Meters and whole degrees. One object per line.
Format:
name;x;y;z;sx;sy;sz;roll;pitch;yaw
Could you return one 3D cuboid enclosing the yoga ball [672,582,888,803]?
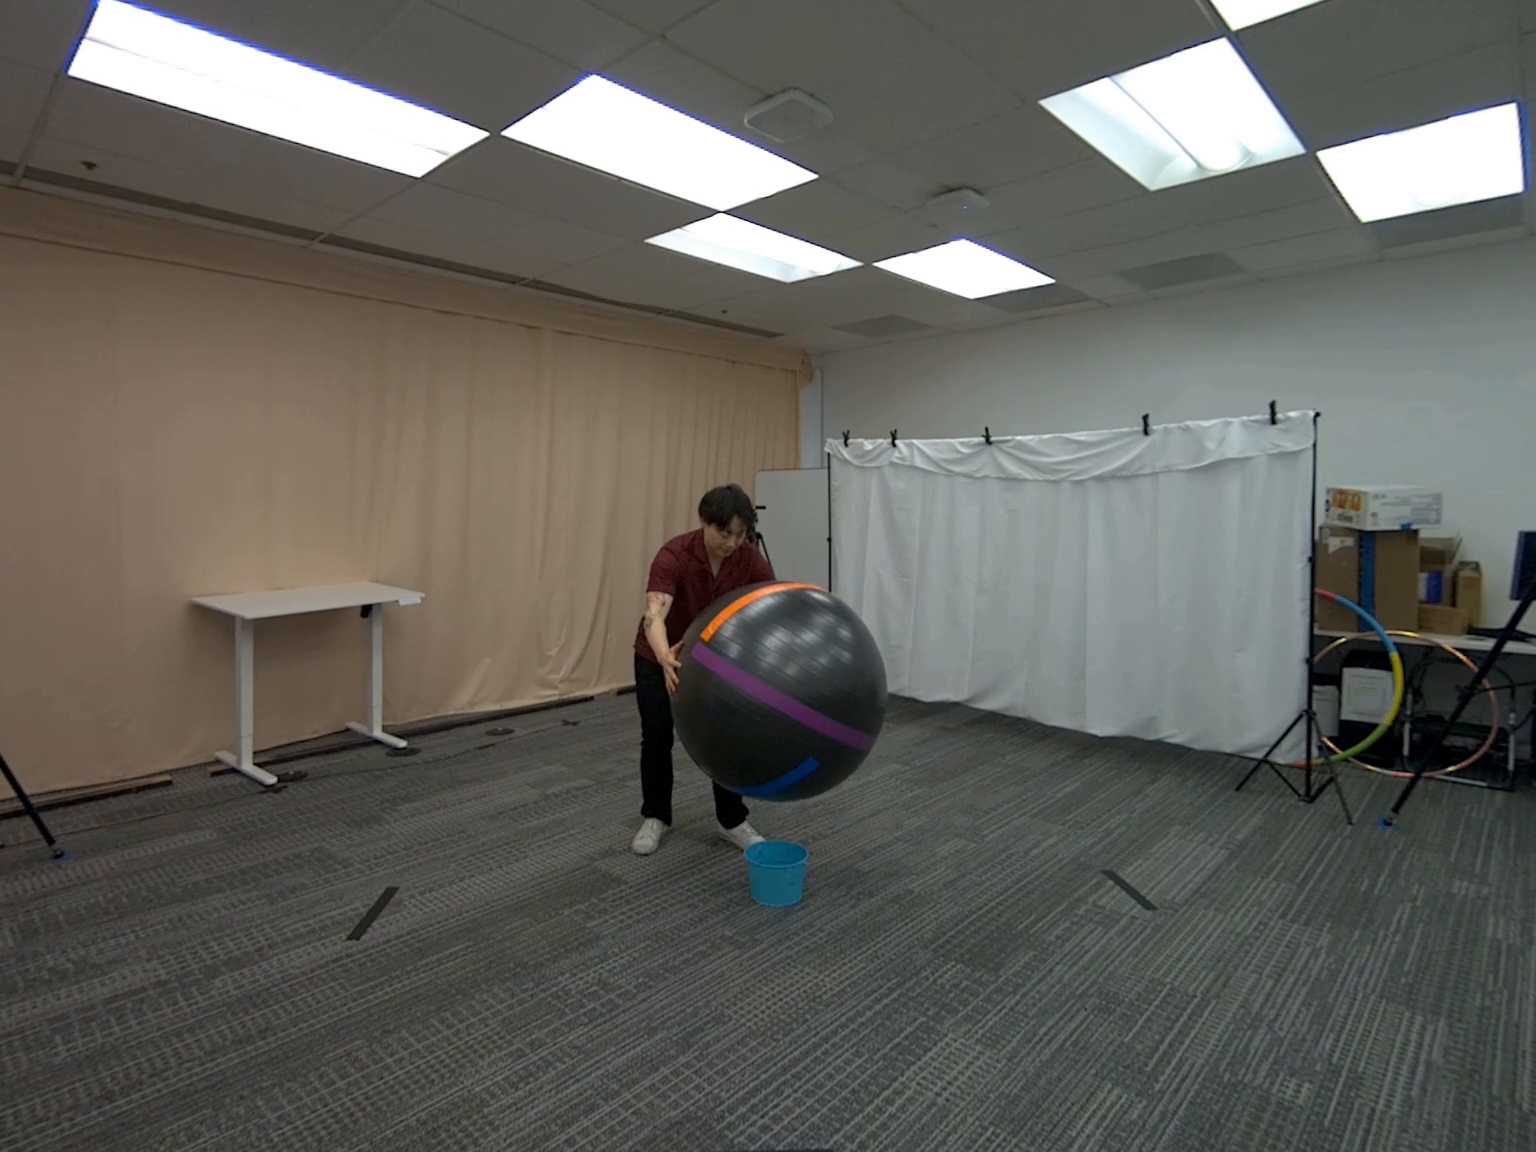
yoga ball;0.039;0.400;2.951;0.757;0.756;0.761;0;4;-2
